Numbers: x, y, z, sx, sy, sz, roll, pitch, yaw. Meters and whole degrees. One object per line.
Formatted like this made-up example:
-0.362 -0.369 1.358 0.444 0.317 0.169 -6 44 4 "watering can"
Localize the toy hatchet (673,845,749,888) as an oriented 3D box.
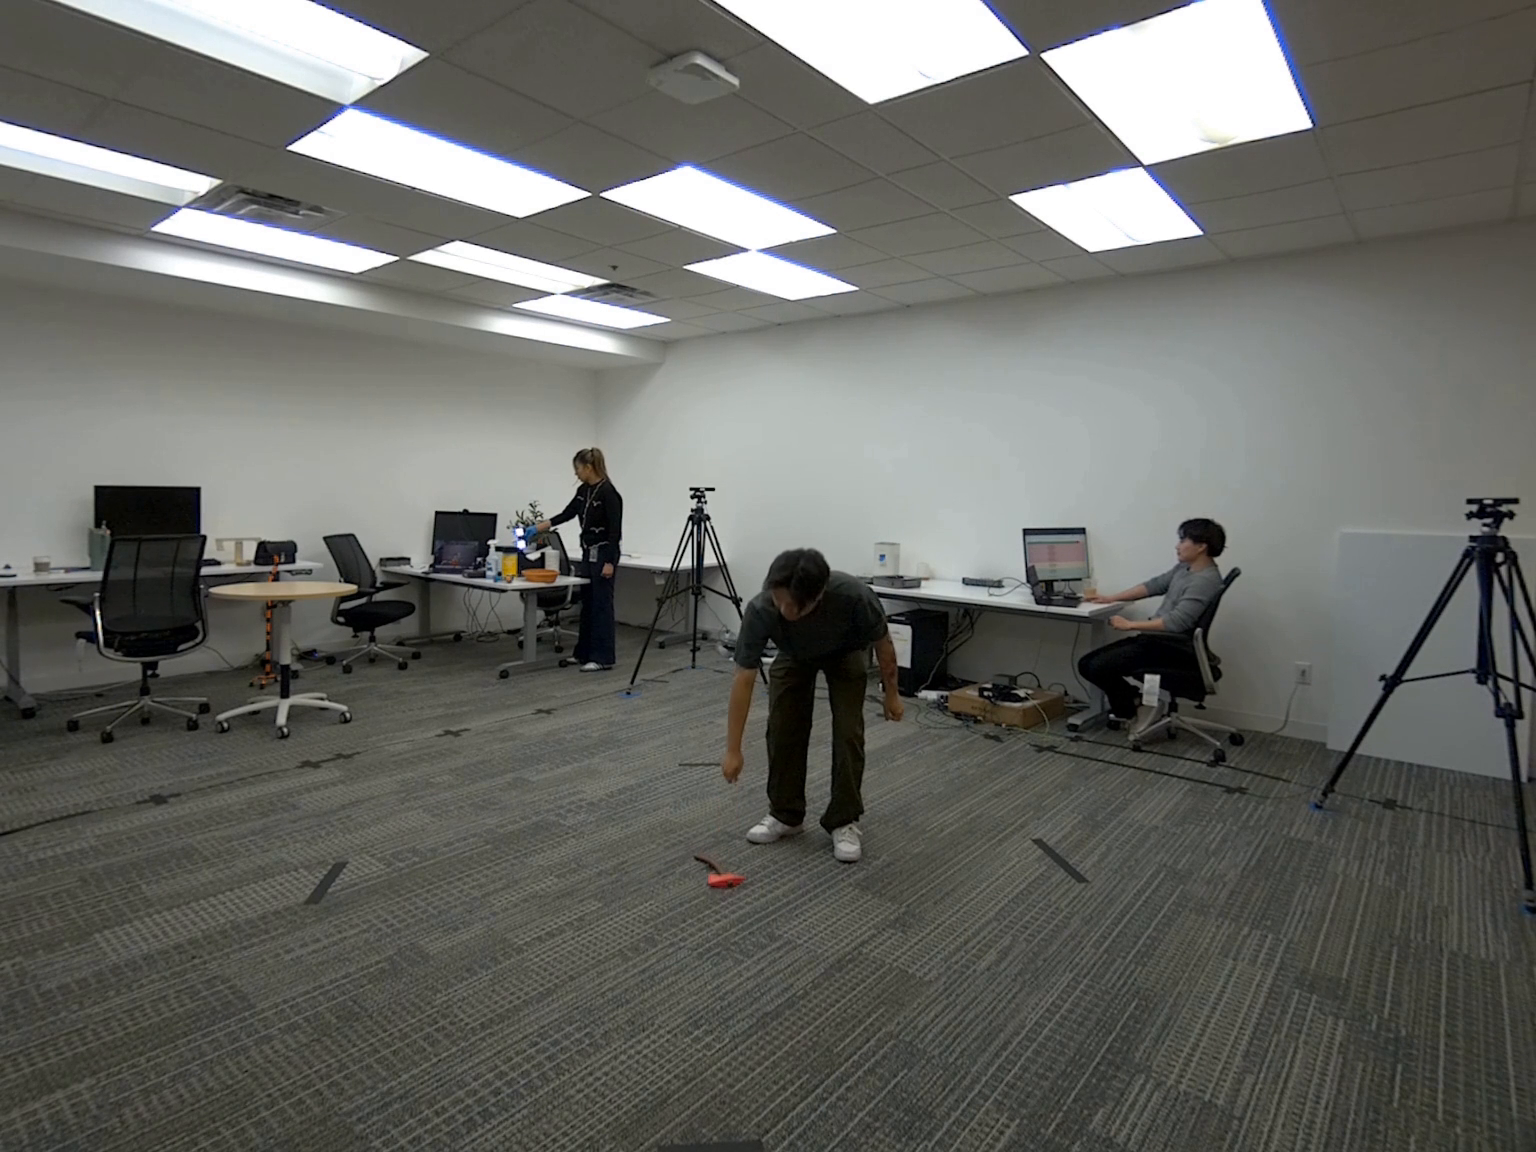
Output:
-0.212 1.053 3.063 0.127 0.029 0.279 -7 7 -40 "toy hatchet"
